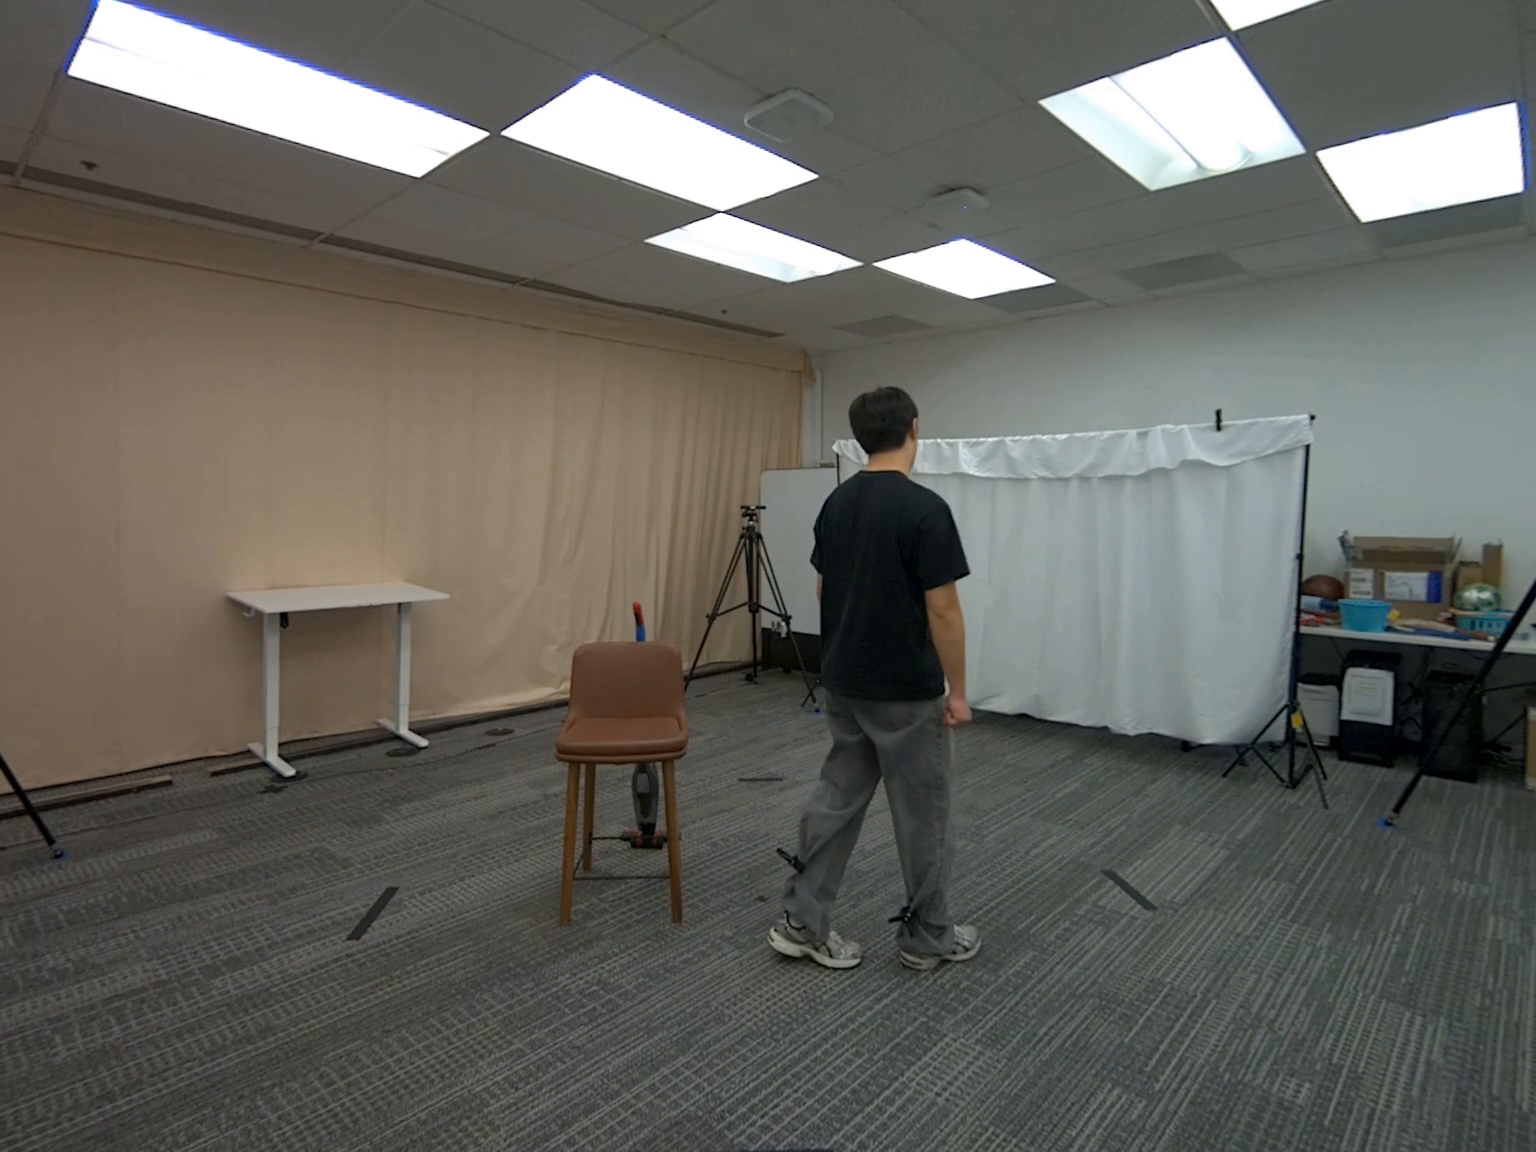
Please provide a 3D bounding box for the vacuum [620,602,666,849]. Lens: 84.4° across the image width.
[{"bbox_3d":[-0.495,0.605,3.357,0.252,1.039,0.145,0,15,-1],"label":"vacuum"}]
